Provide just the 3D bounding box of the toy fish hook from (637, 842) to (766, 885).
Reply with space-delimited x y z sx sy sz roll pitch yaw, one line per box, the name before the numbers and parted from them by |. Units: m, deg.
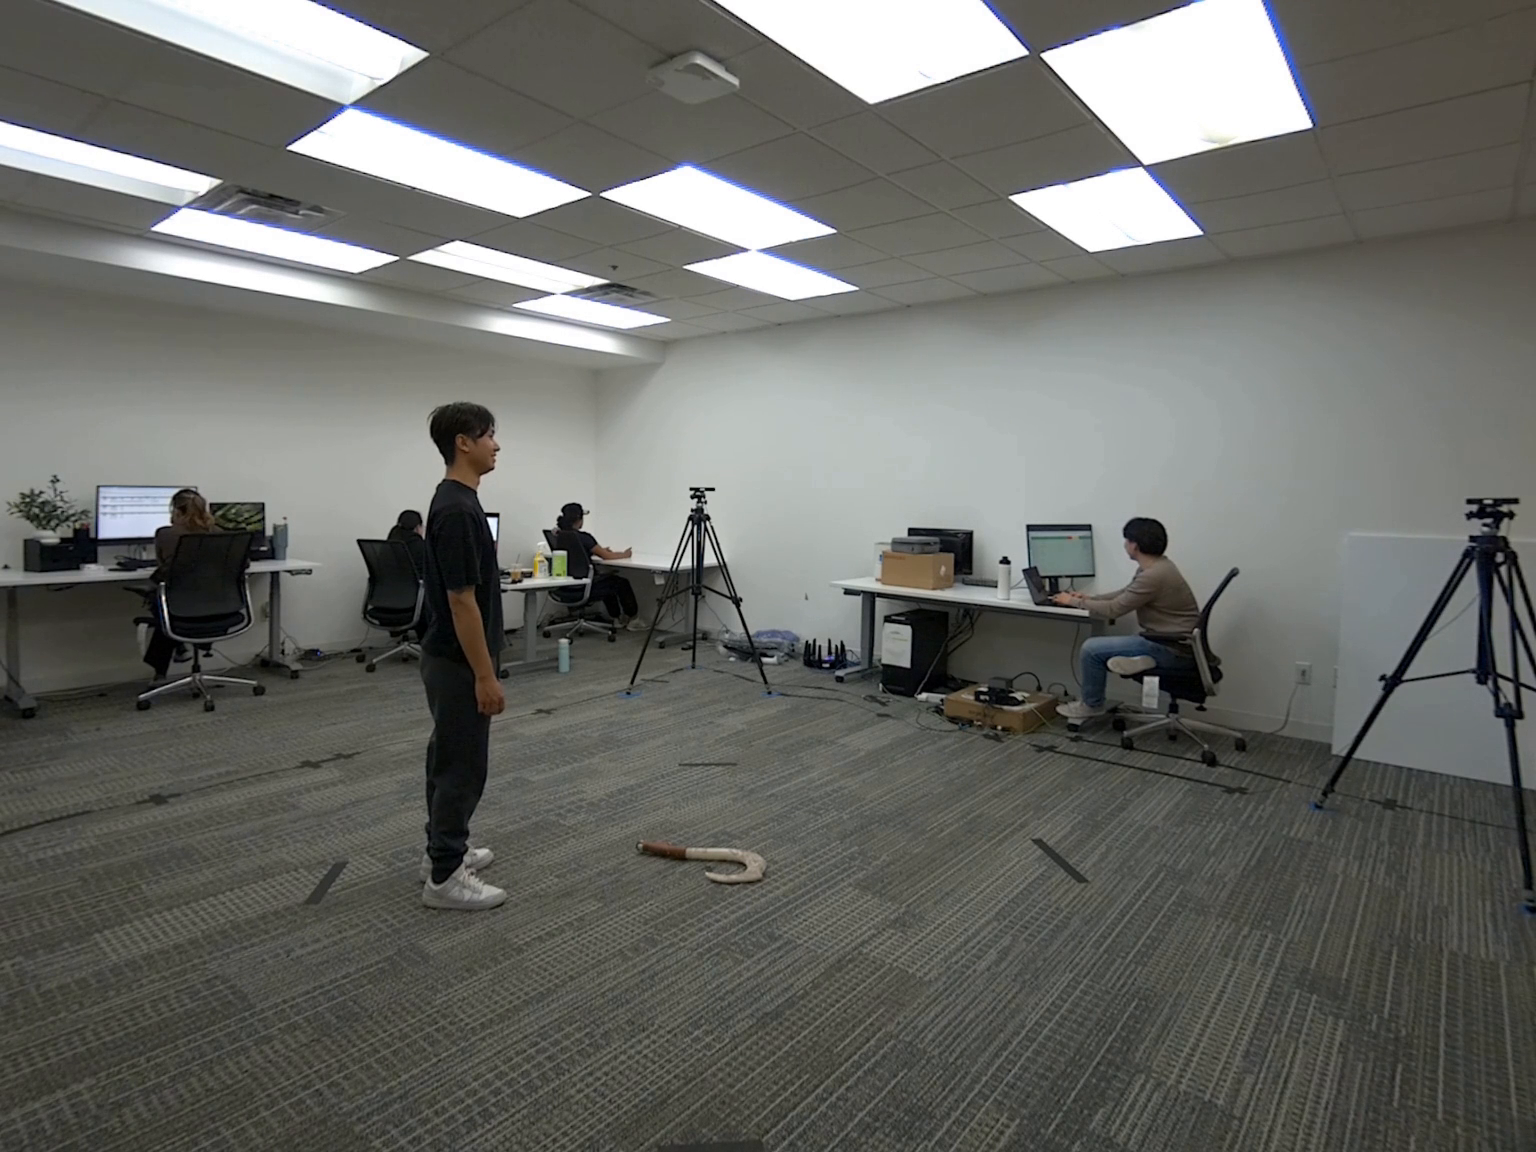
toy fish hook | -0.270 1.044 3.119 0.515 0.048 0.221 2 4 14
